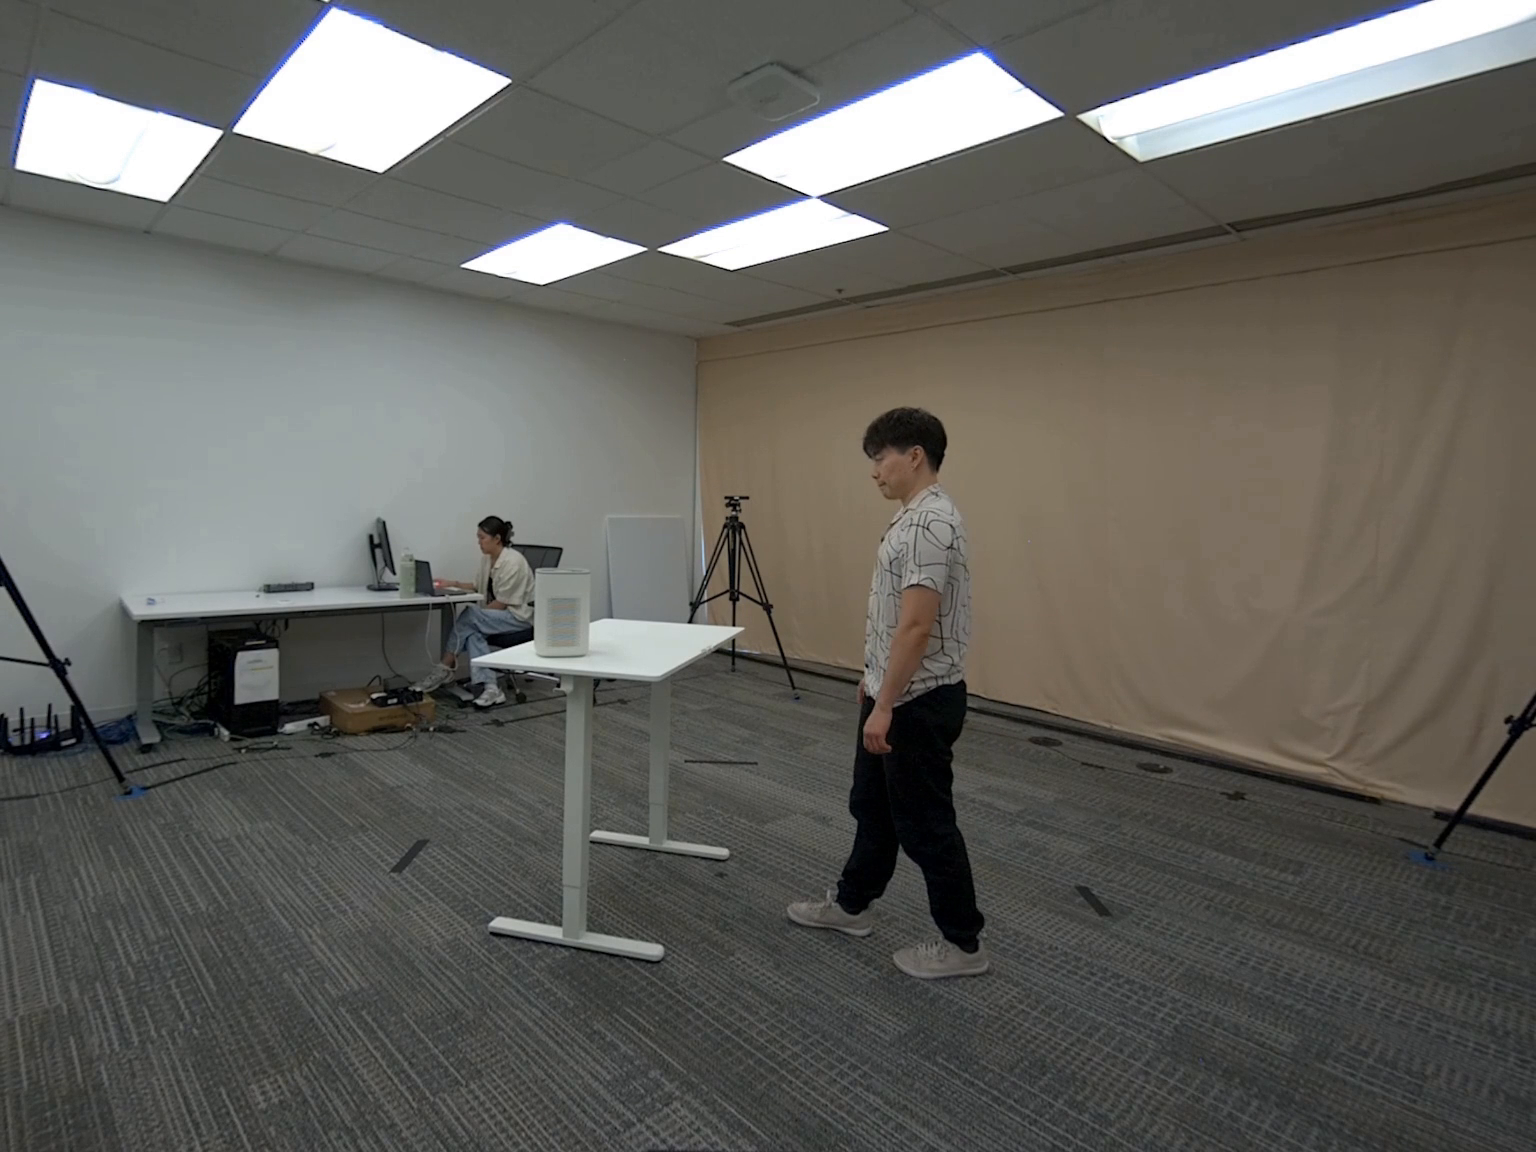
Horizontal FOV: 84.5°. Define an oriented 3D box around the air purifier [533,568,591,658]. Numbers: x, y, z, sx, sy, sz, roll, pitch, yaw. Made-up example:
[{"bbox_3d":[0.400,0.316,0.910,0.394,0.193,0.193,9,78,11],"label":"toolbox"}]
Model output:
[{"bbox_3d":[-0.653,0.119,2.667,0.169,0.265,0.173,1,2,-15],"label":"air purifier"}]
